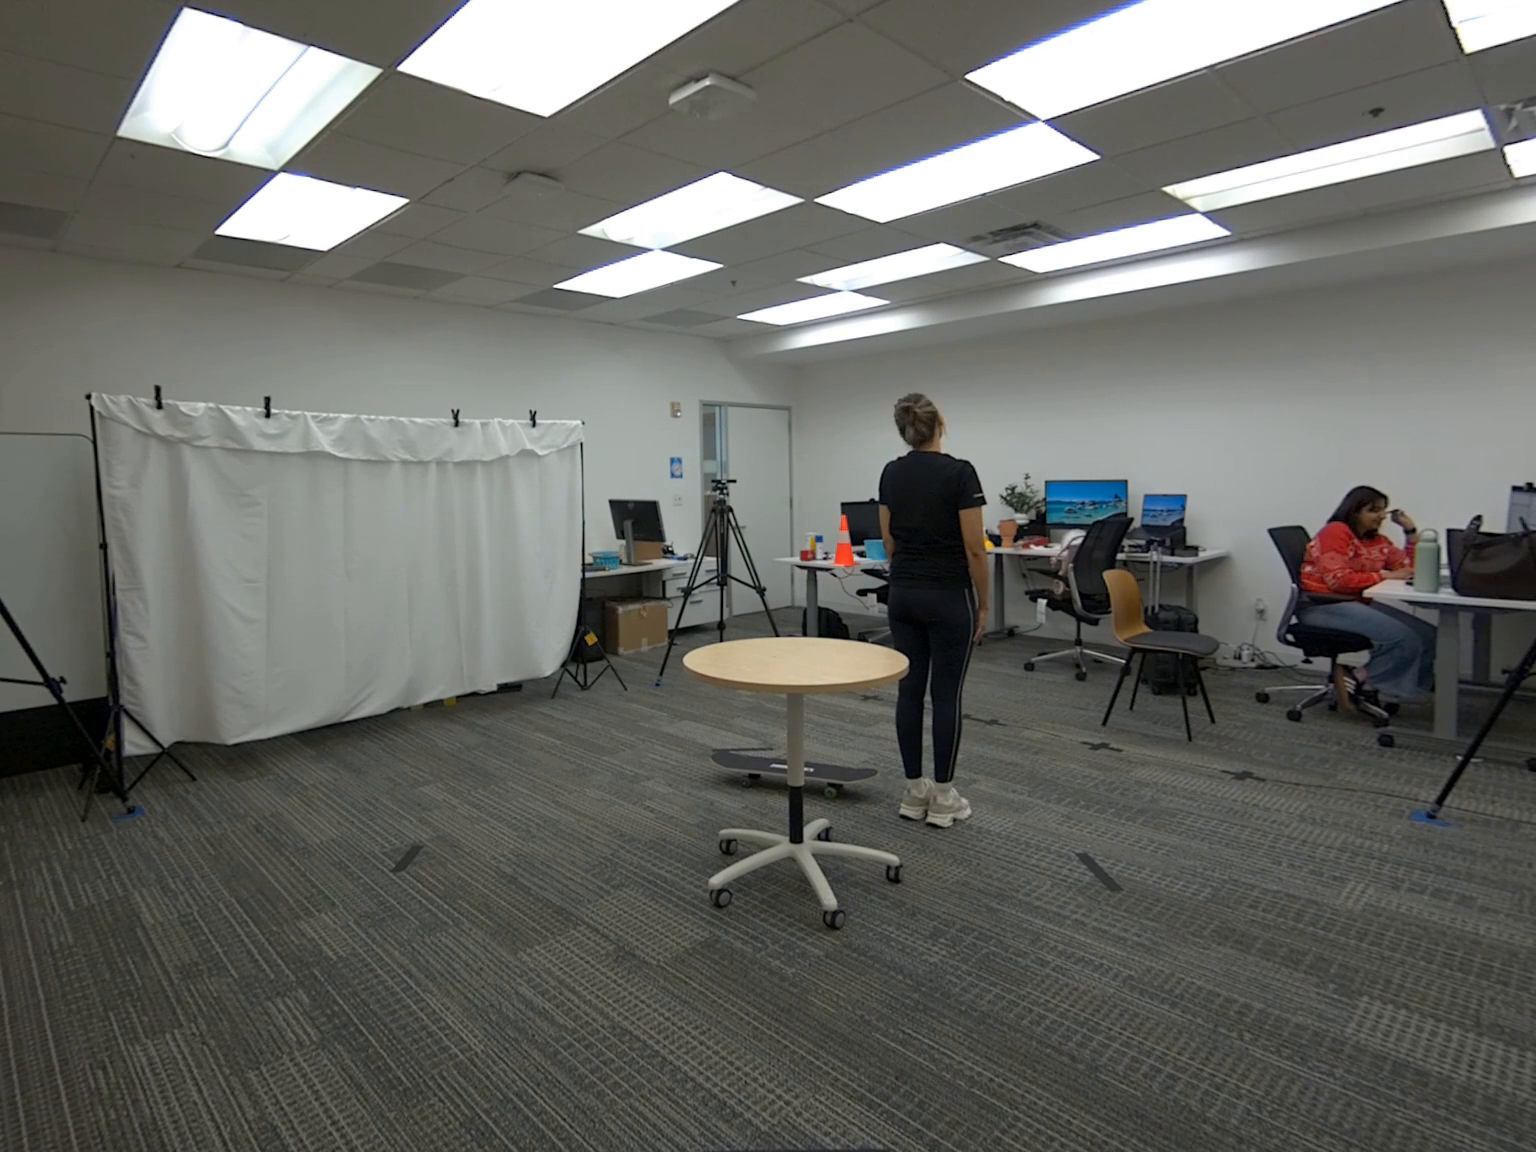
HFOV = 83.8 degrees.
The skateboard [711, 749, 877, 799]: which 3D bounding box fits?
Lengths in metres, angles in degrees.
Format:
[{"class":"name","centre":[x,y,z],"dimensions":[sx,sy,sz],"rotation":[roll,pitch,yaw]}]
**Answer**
[{"class":"skateboard","centre":[0.111,0.904,3.880],"dimensions":[0.802,0.110,0.190],"rotation":[2,7,22]}]
